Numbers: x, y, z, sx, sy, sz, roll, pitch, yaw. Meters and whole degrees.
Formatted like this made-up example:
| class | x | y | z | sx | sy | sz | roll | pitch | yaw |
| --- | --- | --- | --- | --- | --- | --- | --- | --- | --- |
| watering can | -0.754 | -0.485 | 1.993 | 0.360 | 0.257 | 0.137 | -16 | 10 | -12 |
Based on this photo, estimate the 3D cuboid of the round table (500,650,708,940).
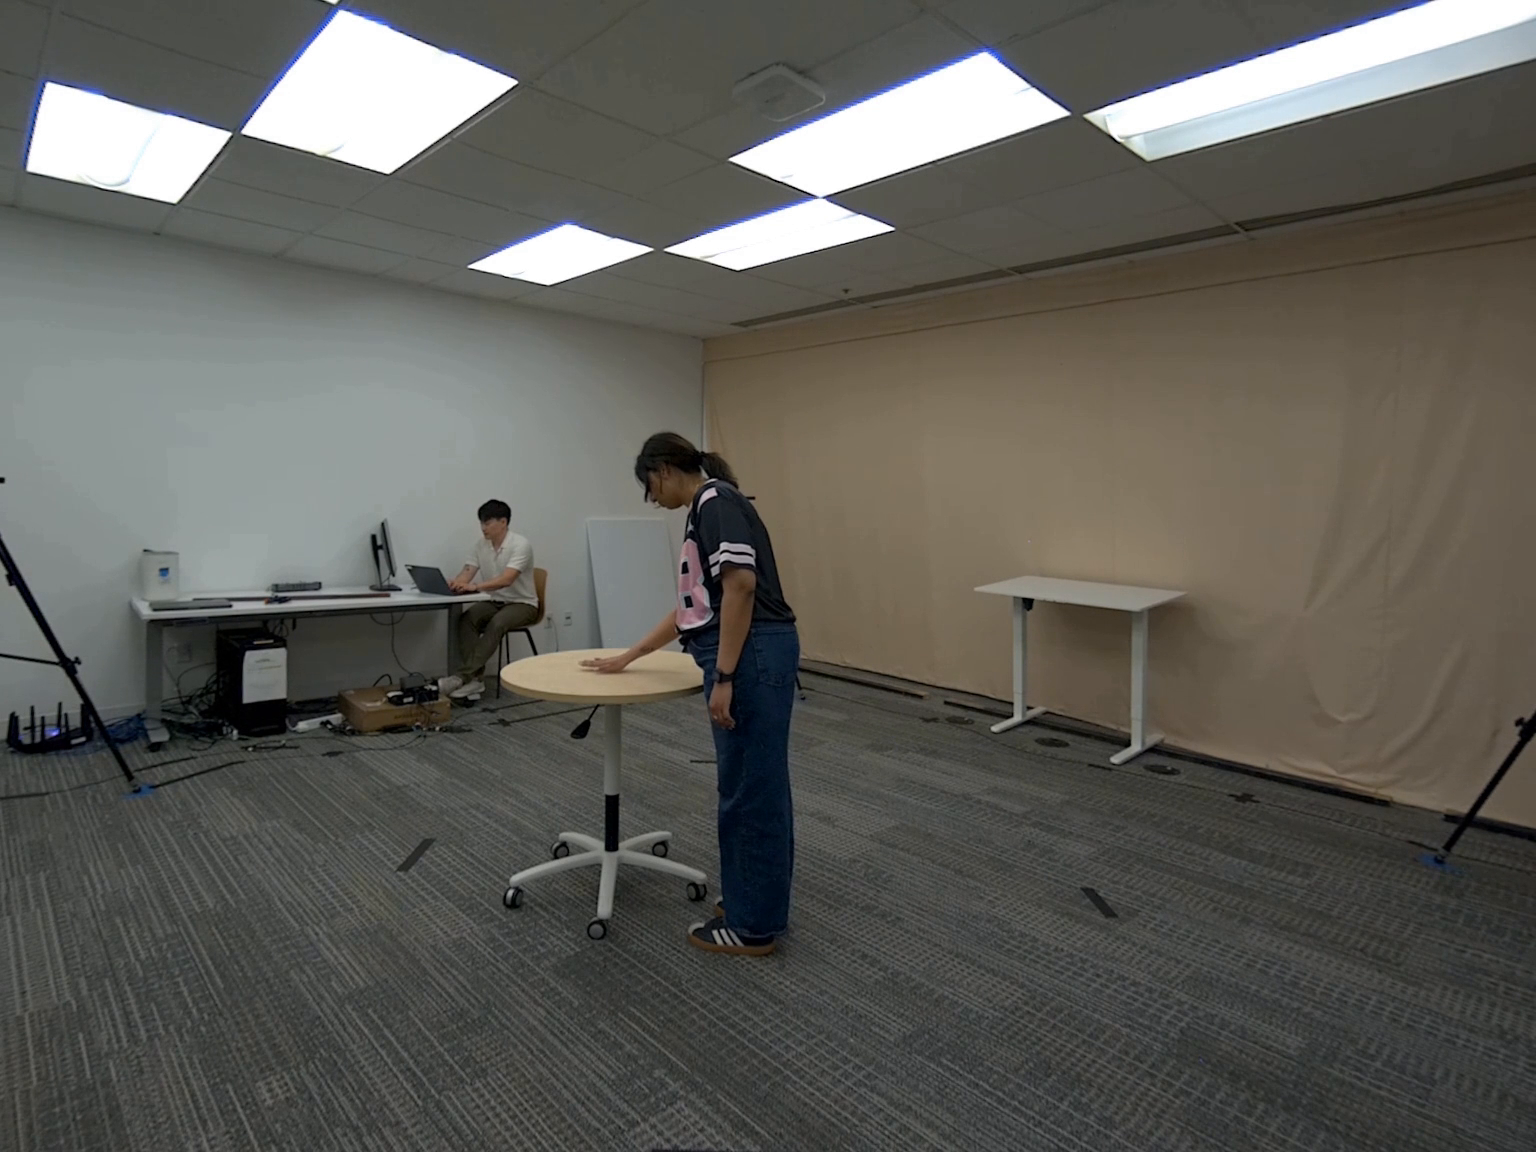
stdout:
| class | x | y | z | sx | sy | sz | roll | pitch | yaw |
| --- | --- | --- | --- | --- | --- | --- | --- | --- | --- |
| round table | -0.560 | 0.718 | 2.948 | 0.784 | 0.784 | 0.788 | 1 | 4 | -1 |
